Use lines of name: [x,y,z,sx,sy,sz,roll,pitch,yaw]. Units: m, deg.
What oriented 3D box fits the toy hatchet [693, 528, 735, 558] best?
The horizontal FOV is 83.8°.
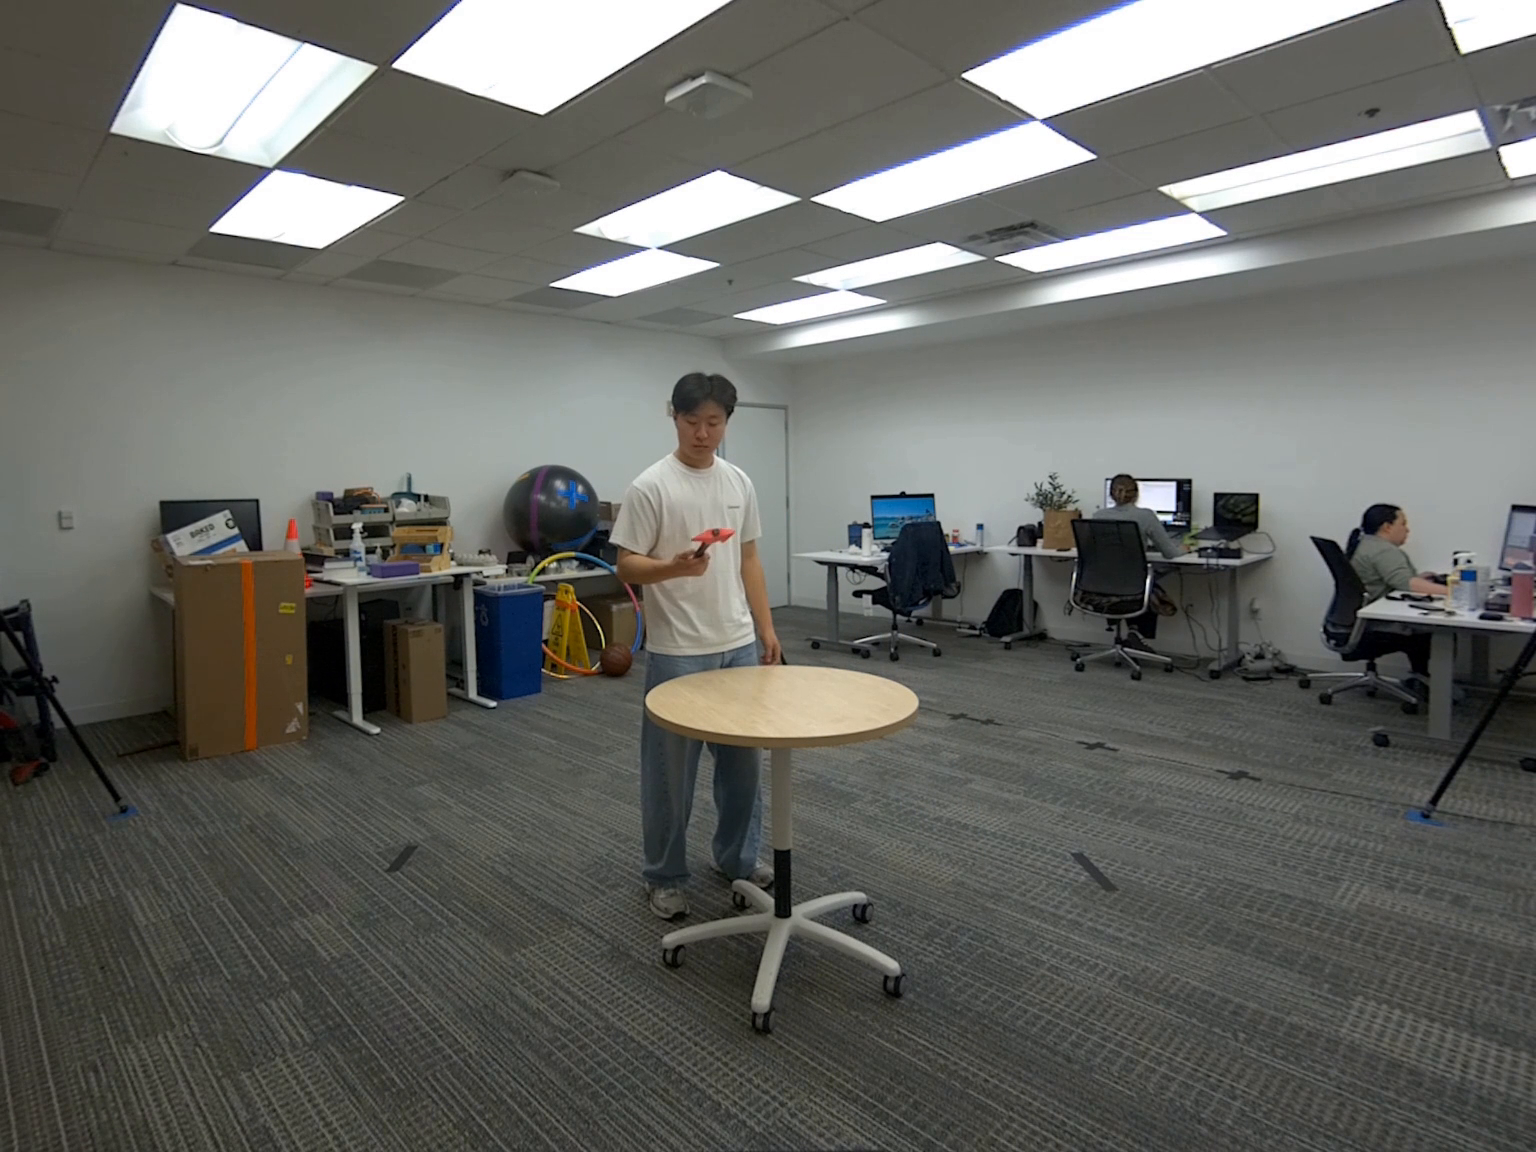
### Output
toy hatchet: [-0.164,-0.081,2.482,0.130,0.030,0.266,-19,-13,-8]
